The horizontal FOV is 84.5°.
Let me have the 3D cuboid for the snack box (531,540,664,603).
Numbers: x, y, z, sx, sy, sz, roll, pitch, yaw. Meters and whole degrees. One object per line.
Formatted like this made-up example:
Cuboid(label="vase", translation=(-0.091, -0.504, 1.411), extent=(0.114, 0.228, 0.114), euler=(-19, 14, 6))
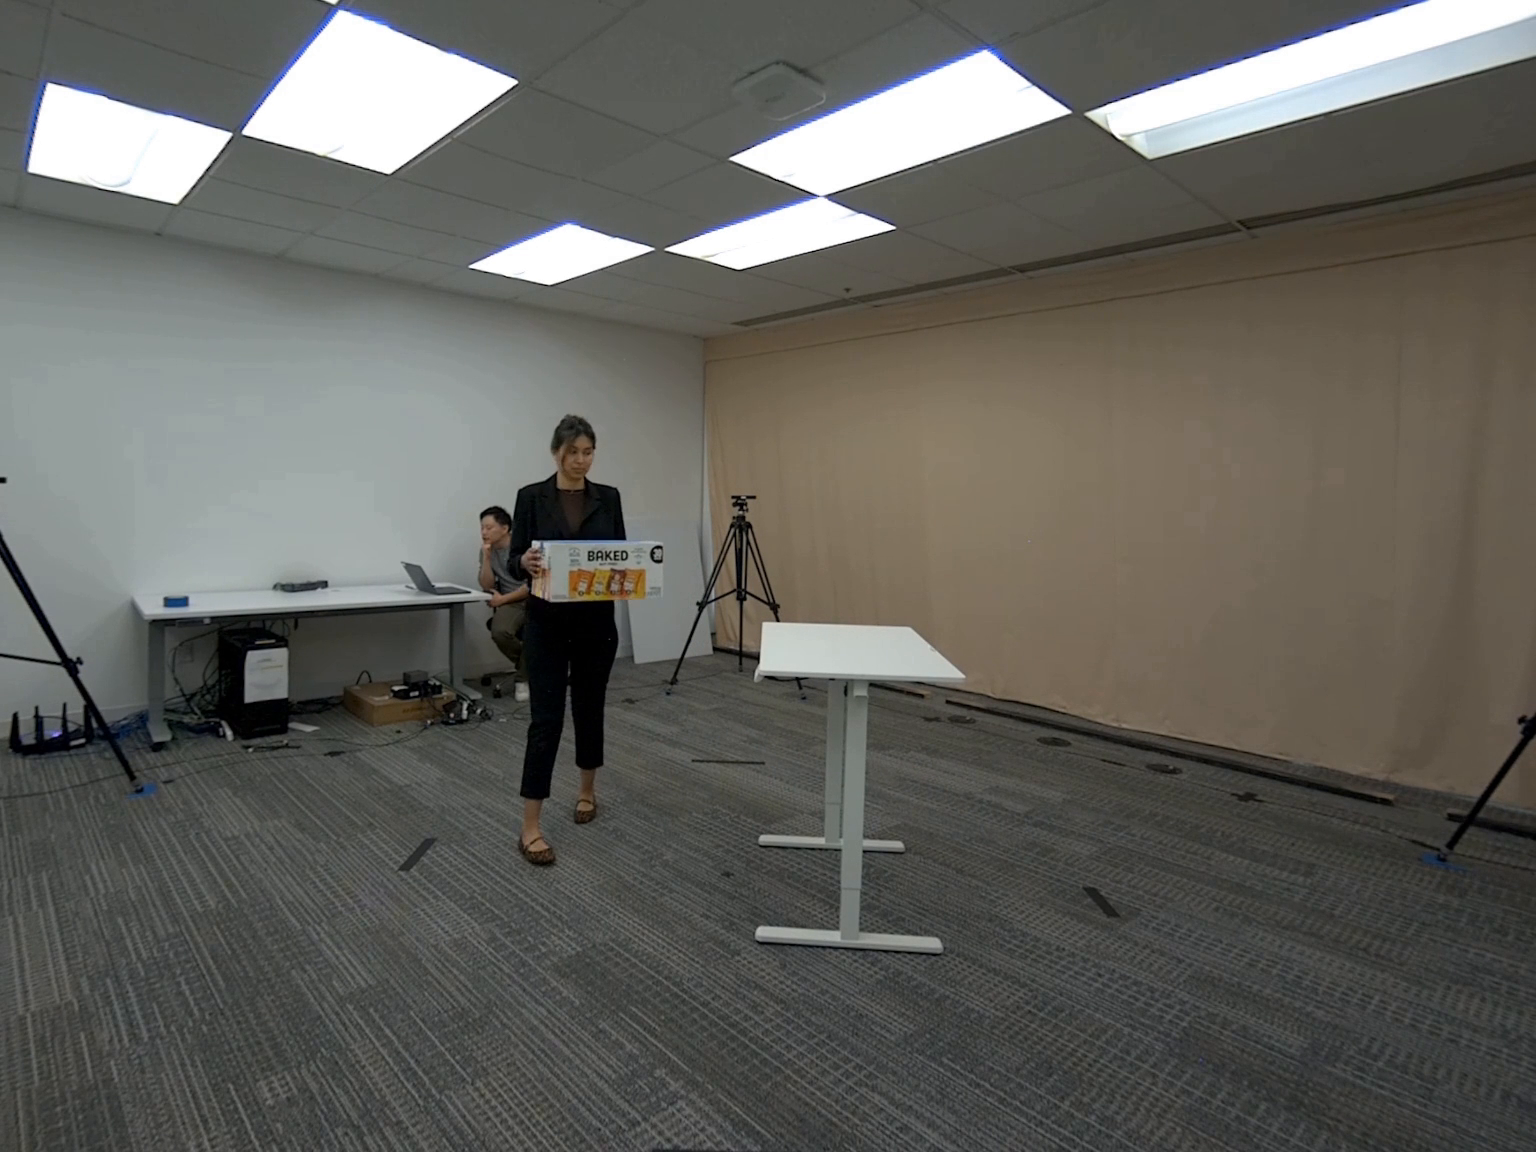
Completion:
Cuboid(label="snack box", translation=(-0.640, -0.027, 3.088), extent=(0.398, 0.205, 0.347), euler=(-1, 4, -25))
